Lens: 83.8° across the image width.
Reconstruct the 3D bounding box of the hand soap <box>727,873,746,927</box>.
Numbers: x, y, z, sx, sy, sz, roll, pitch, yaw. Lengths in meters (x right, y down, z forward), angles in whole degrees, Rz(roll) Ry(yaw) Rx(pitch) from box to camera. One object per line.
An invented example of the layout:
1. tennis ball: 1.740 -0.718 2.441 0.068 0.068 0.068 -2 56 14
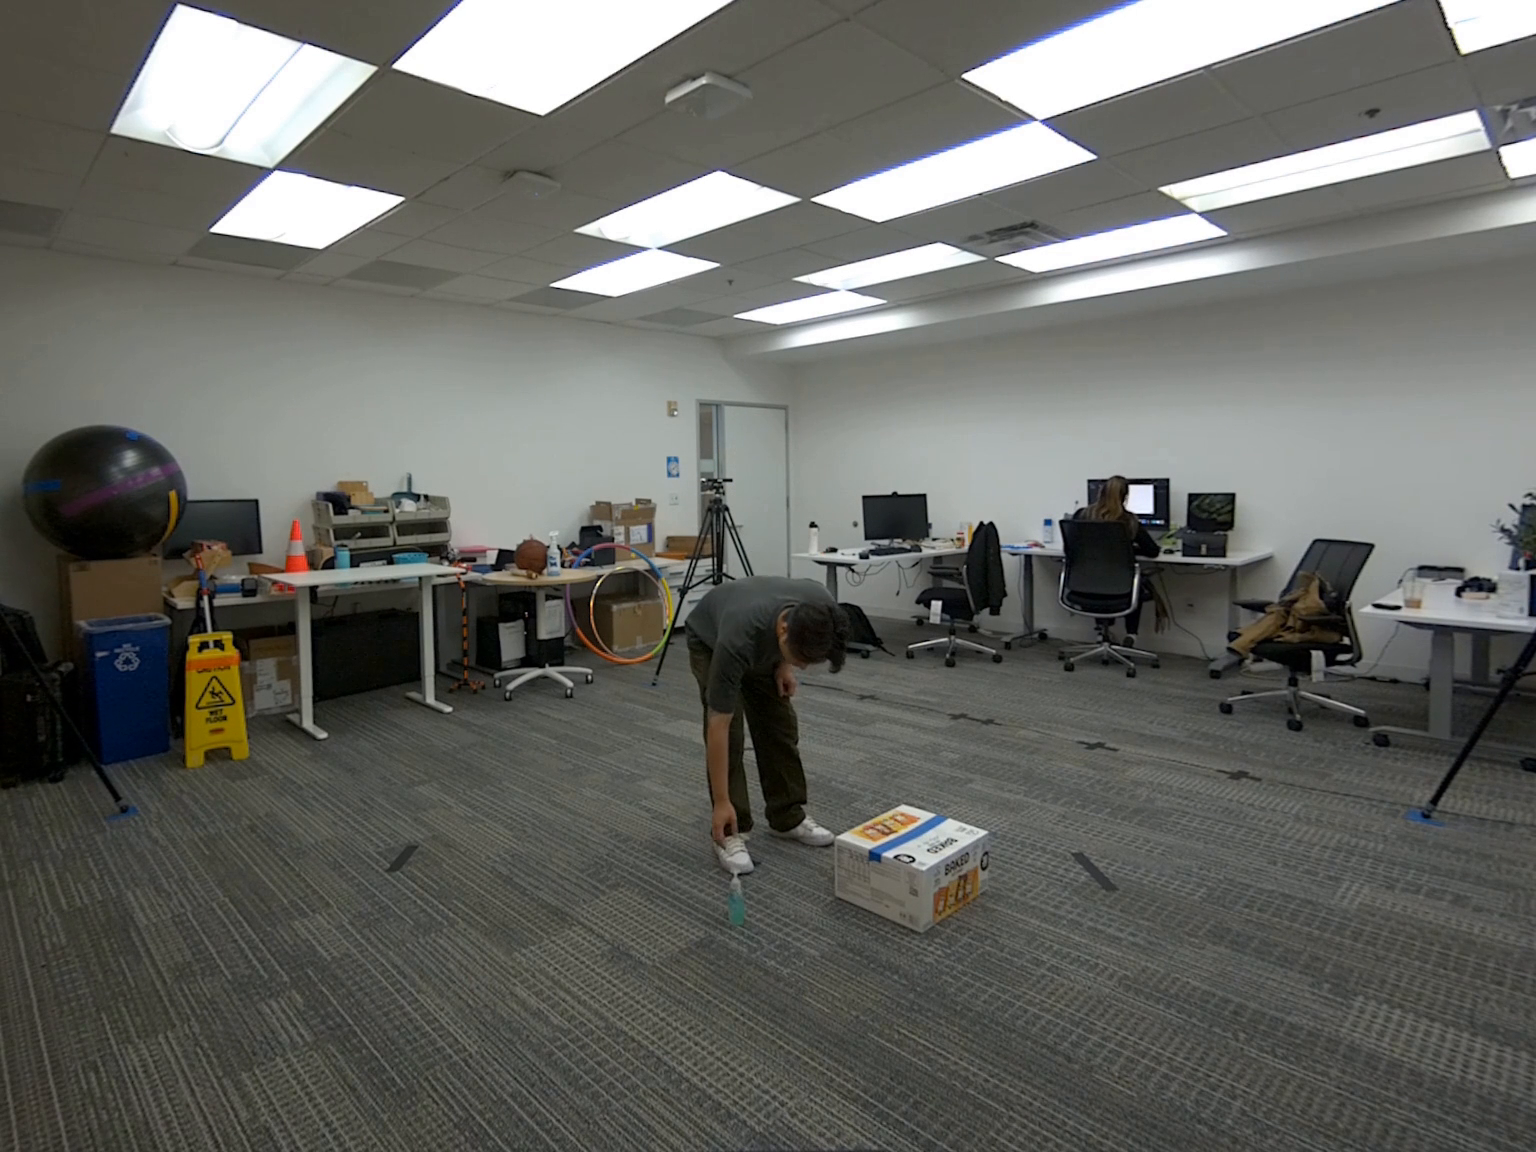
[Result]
1. hand soap: -0.101 1.017 2.701 0.042 0.167 0.087 -6 7 -24
